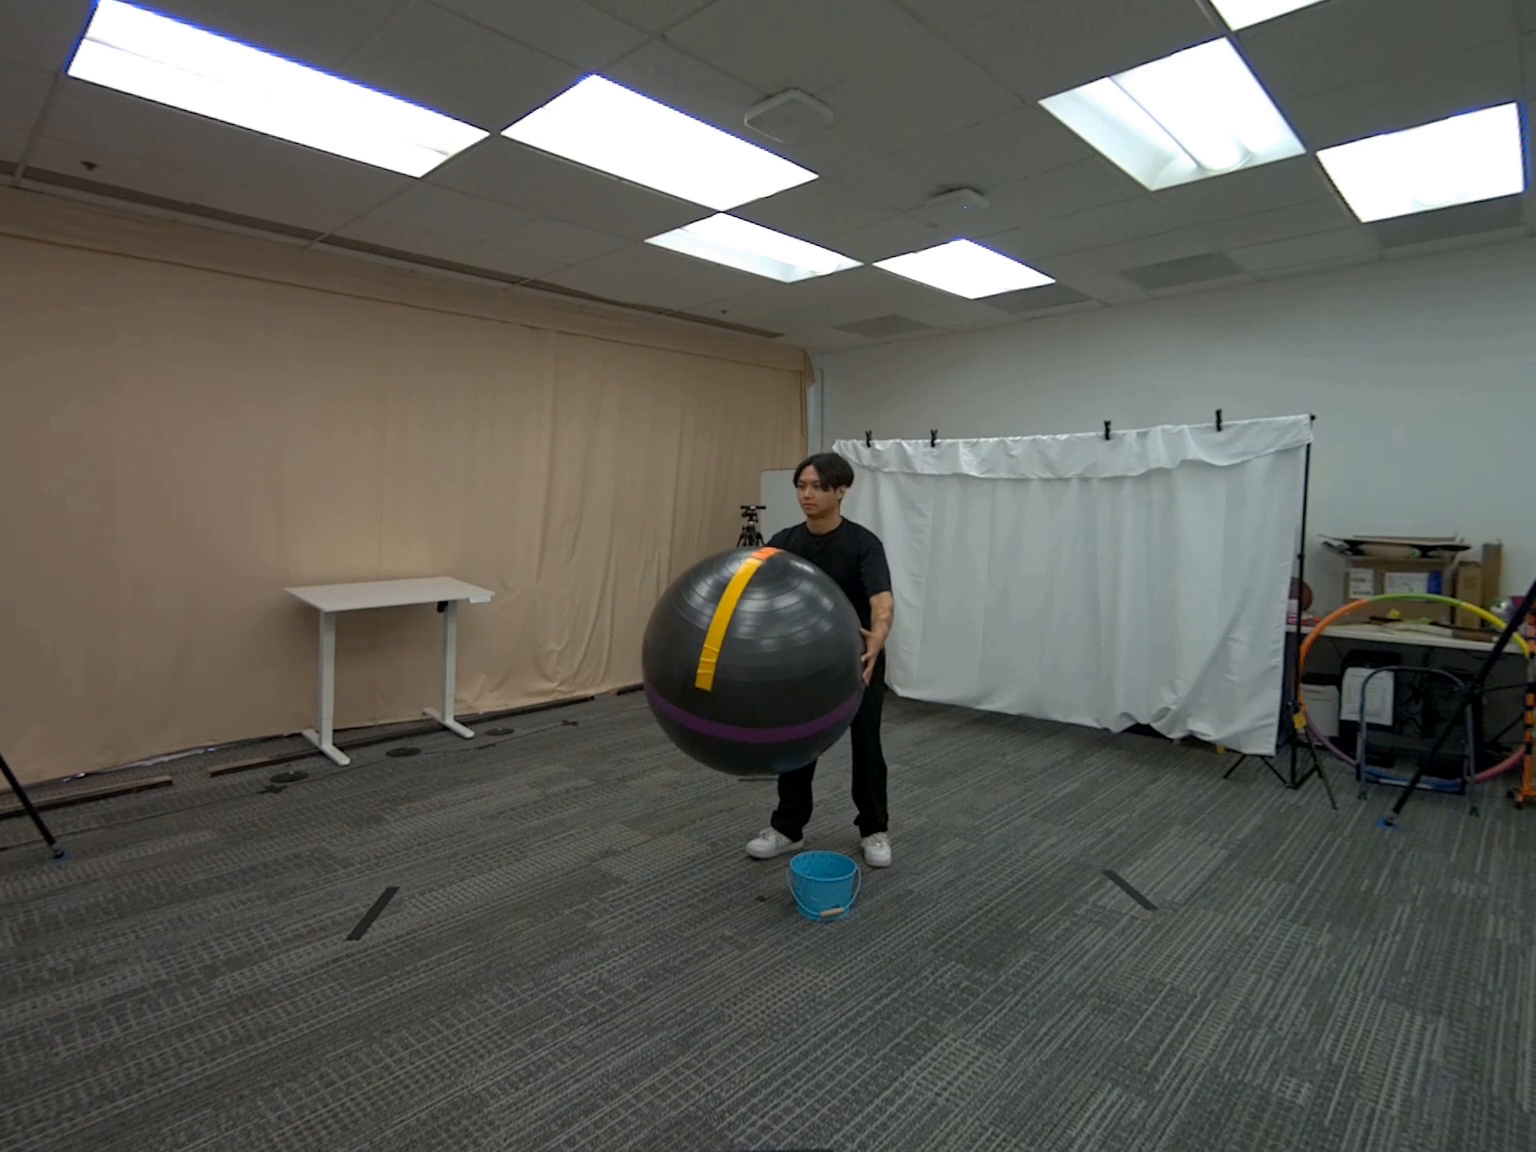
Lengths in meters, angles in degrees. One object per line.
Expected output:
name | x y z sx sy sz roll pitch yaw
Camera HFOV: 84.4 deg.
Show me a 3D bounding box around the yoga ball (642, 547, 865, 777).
yoga ball | -0.050 0.292 2.824 0.757 0.756 0.760 0 4 -2
